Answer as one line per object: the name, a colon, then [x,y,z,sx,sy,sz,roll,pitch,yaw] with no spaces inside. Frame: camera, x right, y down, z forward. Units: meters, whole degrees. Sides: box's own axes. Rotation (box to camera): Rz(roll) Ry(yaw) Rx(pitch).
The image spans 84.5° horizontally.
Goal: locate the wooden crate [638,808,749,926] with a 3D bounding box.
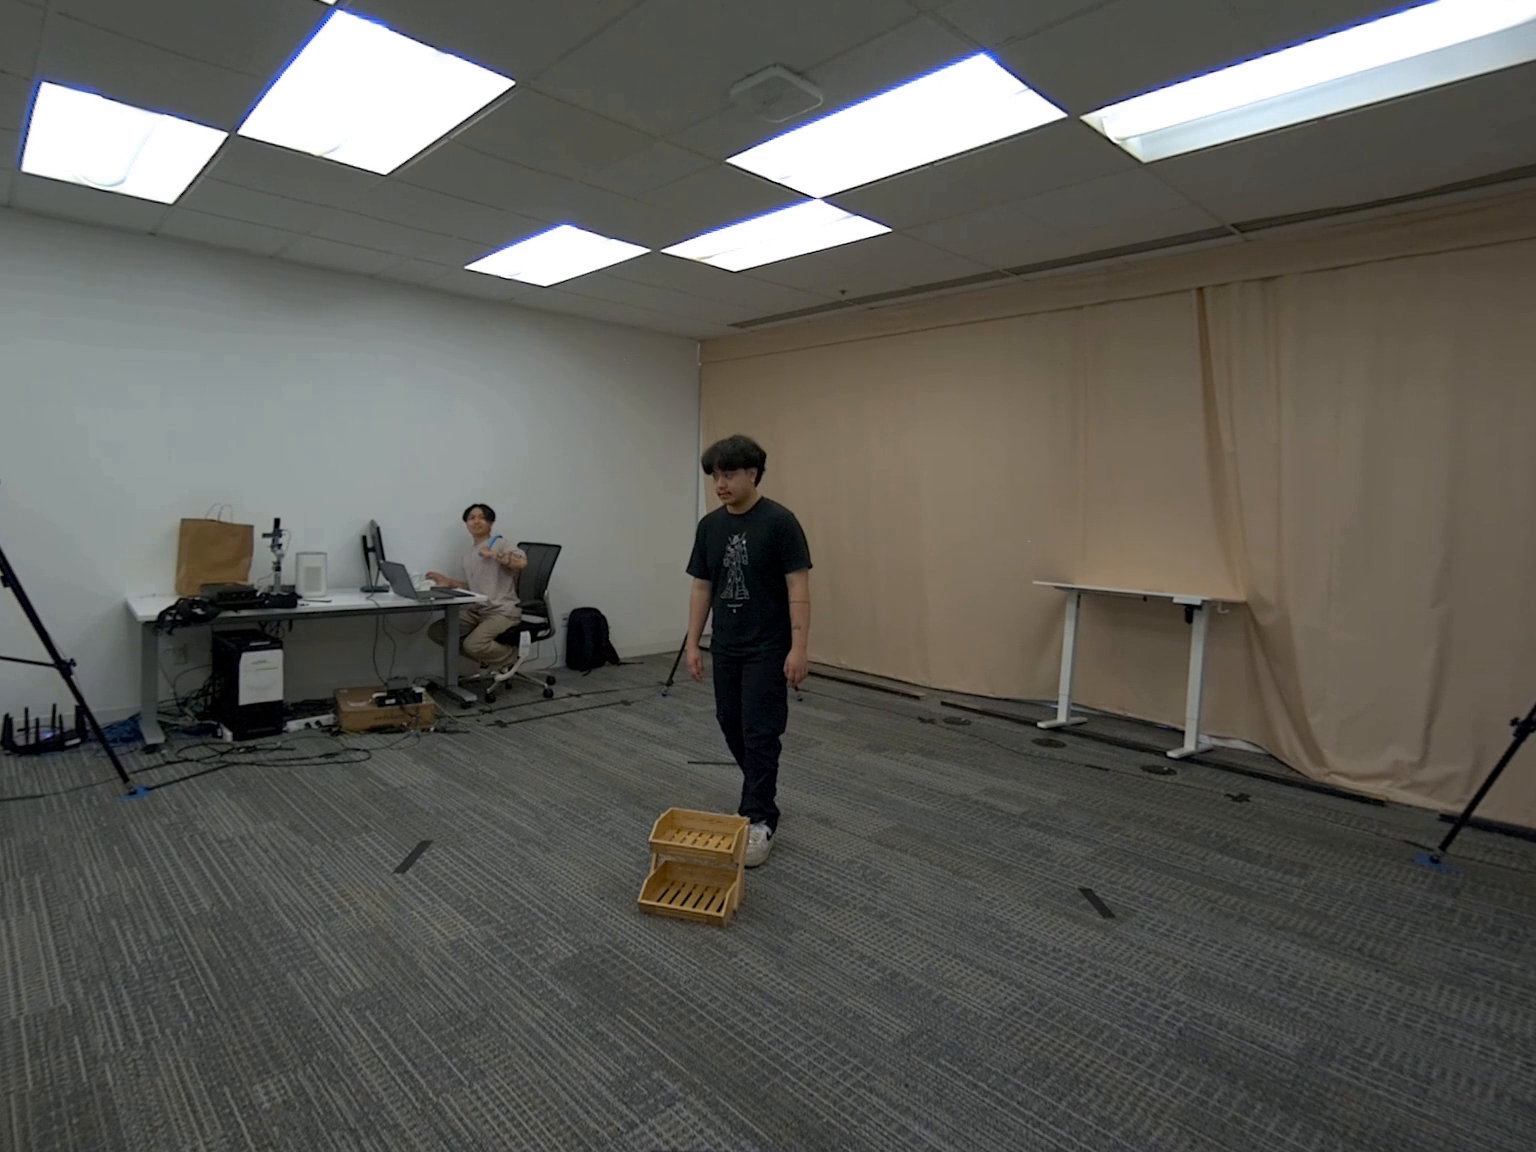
wooden crate: [-0.259,0.993,2.890,0.328,0.272,0.299,2,5,15]
